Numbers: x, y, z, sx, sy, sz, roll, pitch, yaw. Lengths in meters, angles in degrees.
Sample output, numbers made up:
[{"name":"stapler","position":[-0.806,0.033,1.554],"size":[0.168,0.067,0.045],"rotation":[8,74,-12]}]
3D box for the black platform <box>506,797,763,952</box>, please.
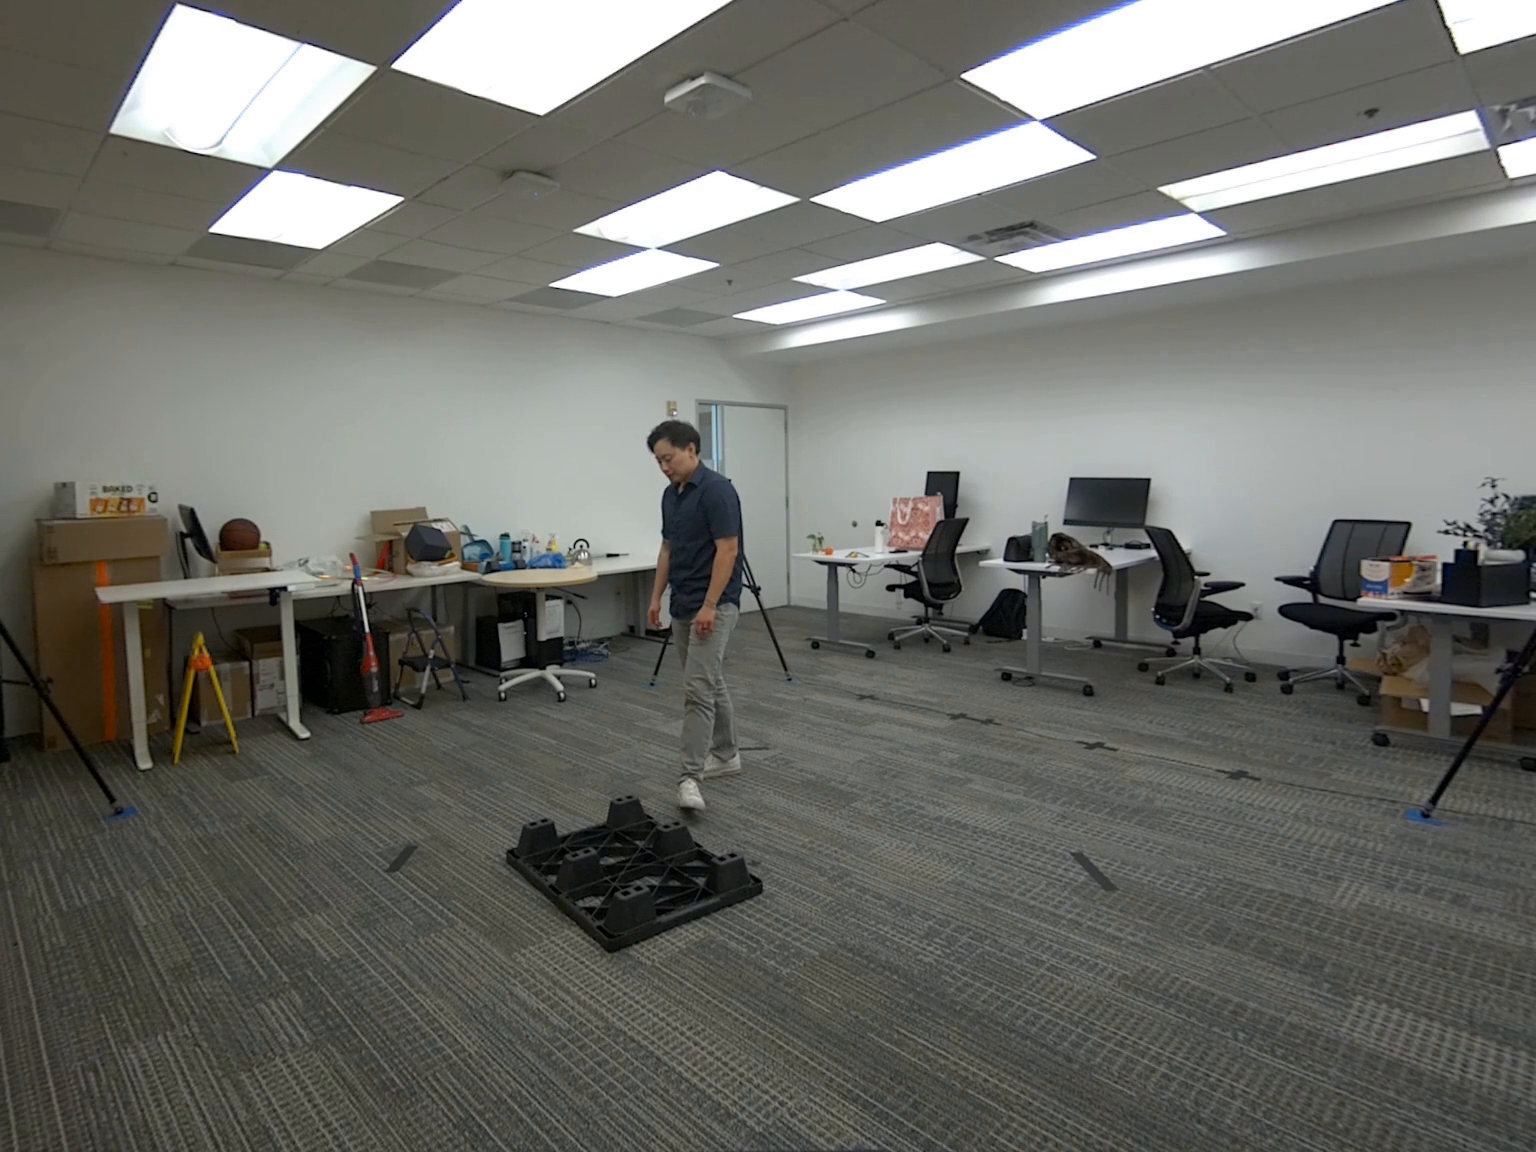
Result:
[{"name":"black platform","position":[-0.495,0.997,3.023],"size":[0.590,0.142,0.830],"rotation":[-6,8,-38]}]
